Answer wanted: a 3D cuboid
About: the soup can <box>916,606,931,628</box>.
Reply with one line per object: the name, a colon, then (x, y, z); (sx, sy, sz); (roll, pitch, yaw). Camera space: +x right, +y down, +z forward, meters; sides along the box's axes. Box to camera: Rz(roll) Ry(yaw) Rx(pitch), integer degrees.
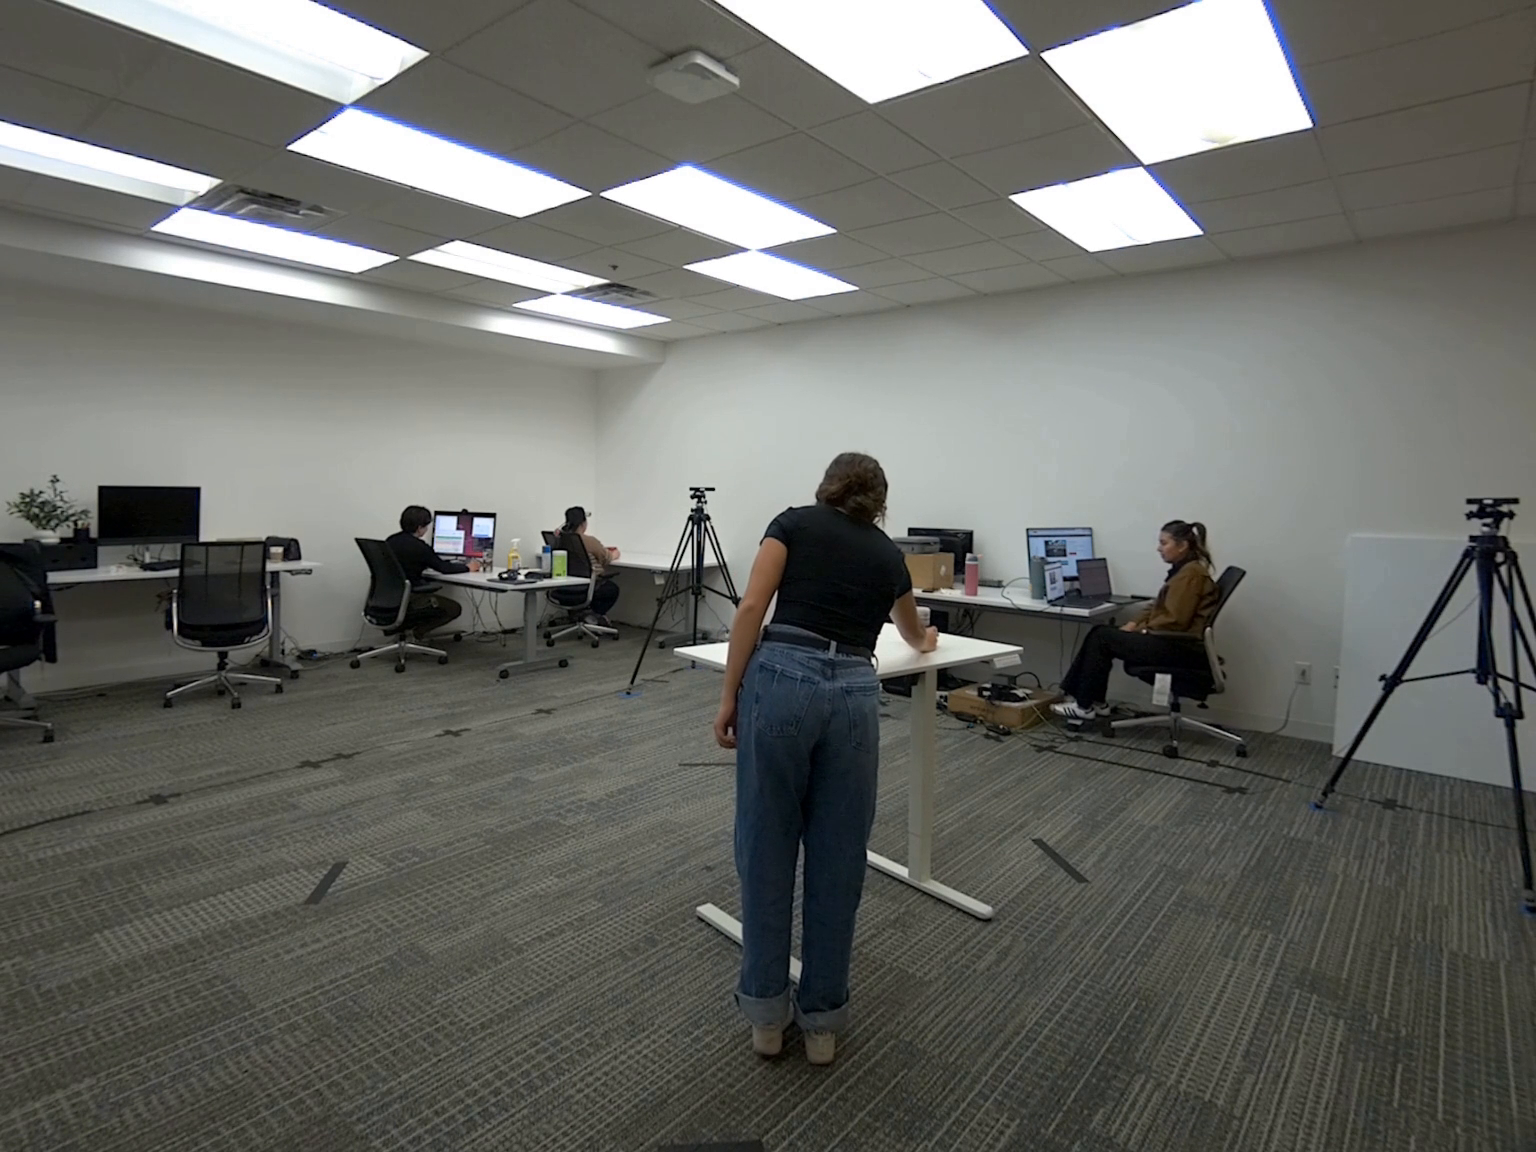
soup can: (0.498, 0.161, 2.862); (0.067, 0.121, 0.067); (0, 4, -2)
